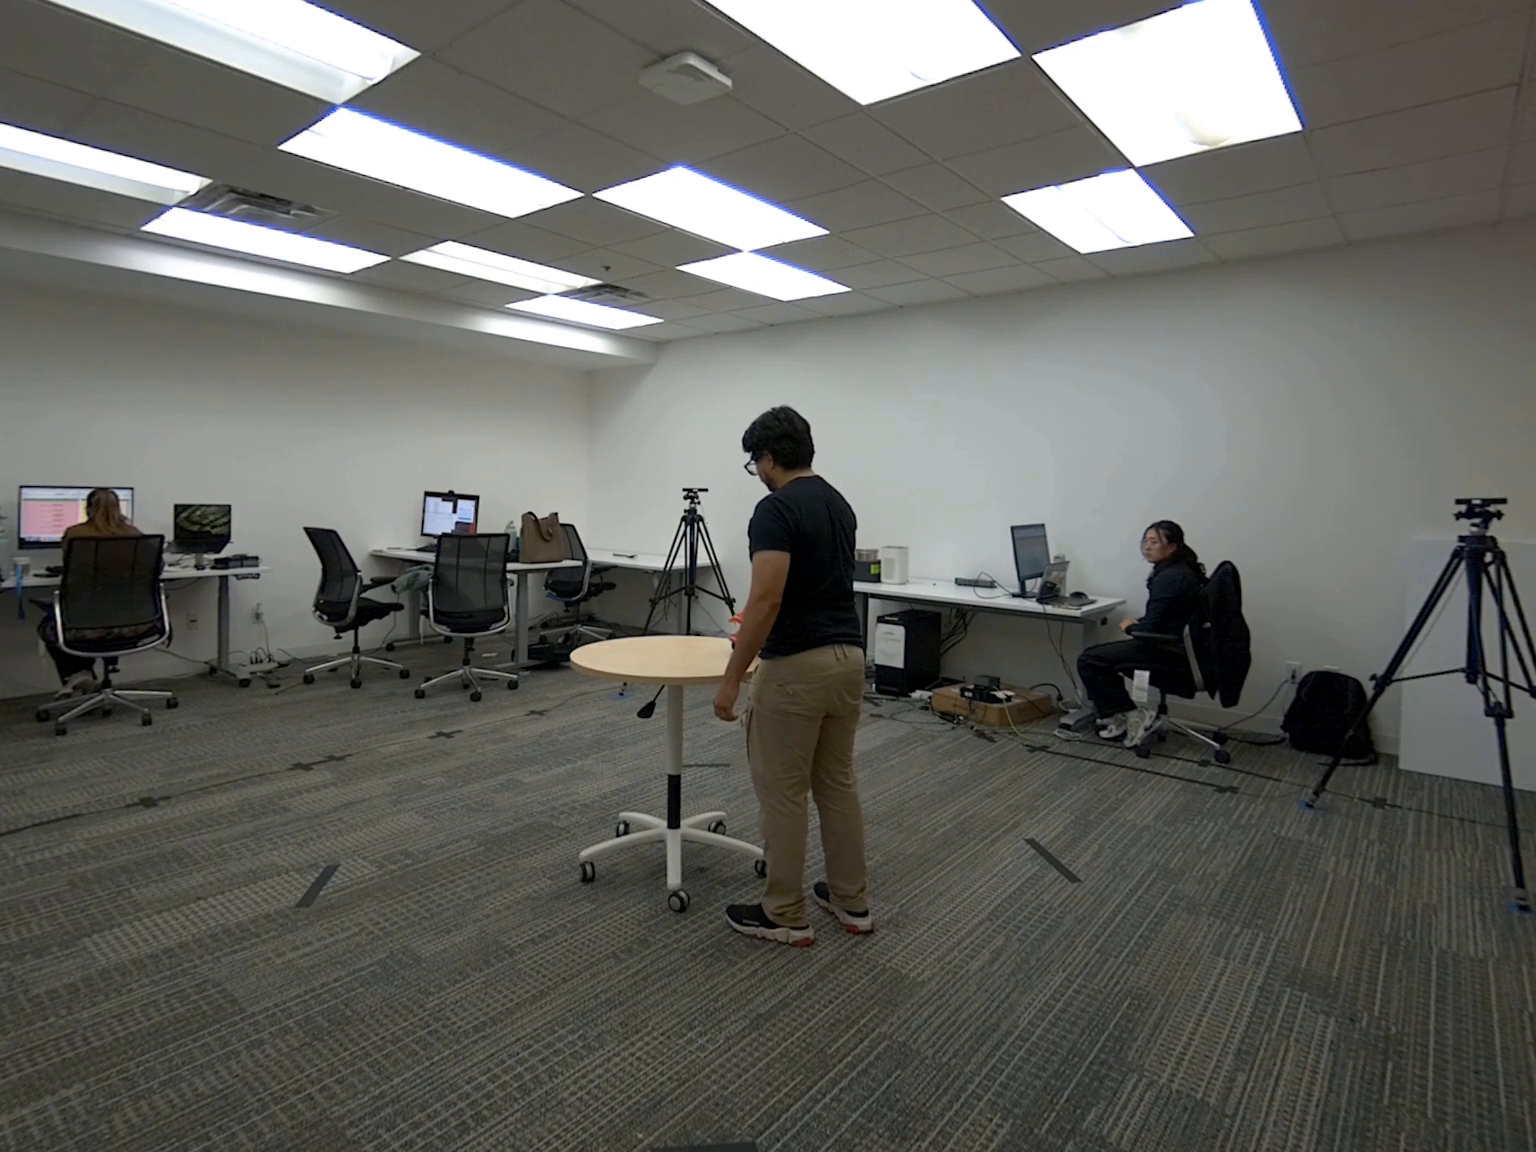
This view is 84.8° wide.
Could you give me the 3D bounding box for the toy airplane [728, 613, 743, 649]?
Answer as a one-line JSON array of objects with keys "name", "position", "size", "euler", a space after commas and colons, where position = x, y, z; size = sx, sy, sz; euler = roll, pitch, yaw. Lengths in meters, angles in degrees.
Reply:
[{"name": "toy airplane", "position": [-0.021, 0.206, 3.144], "size": [0.262, 0.156, 0.250], "euler": [0, 5, 8]}]
